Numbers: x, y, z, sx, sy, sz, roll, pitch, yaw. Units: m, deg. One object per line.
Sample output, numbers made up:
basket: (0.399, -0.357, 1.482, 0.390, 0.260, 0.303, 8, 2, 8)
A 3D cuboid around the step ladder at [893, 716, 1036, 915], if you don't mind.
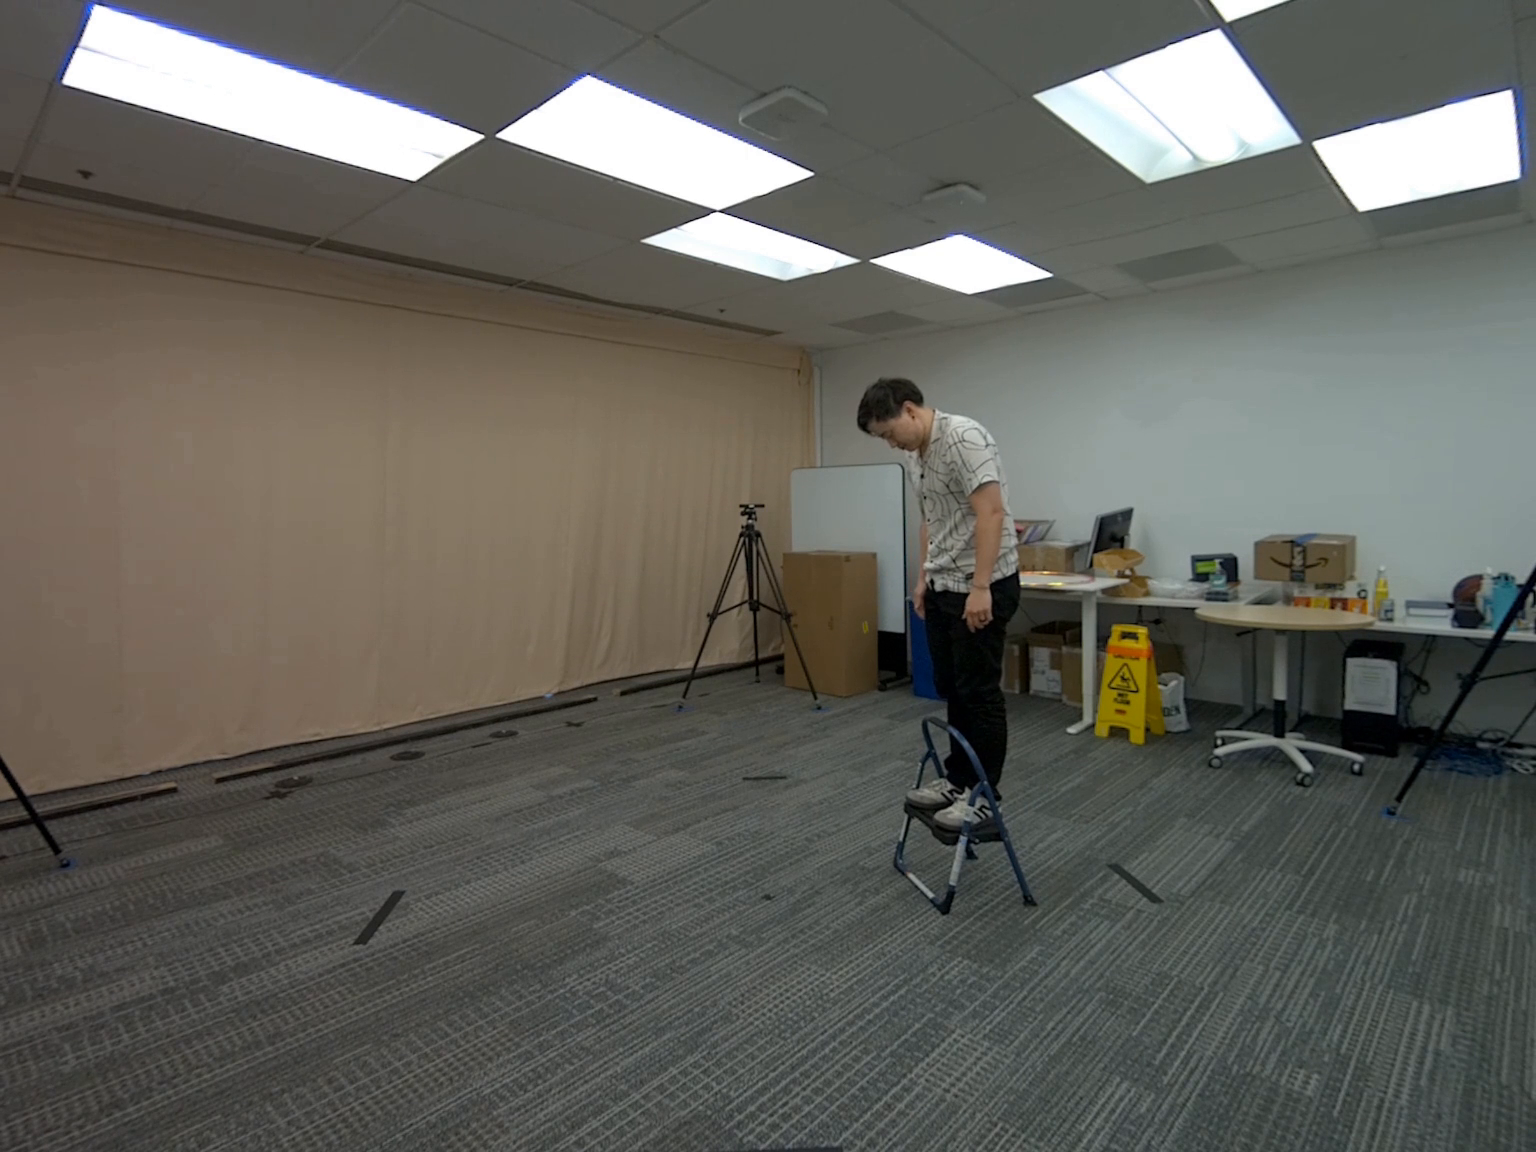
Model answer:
step ladder: (0.700, 0.821, 3.045, 0.344, 0.605, 0.438, -1, 4, -14)
